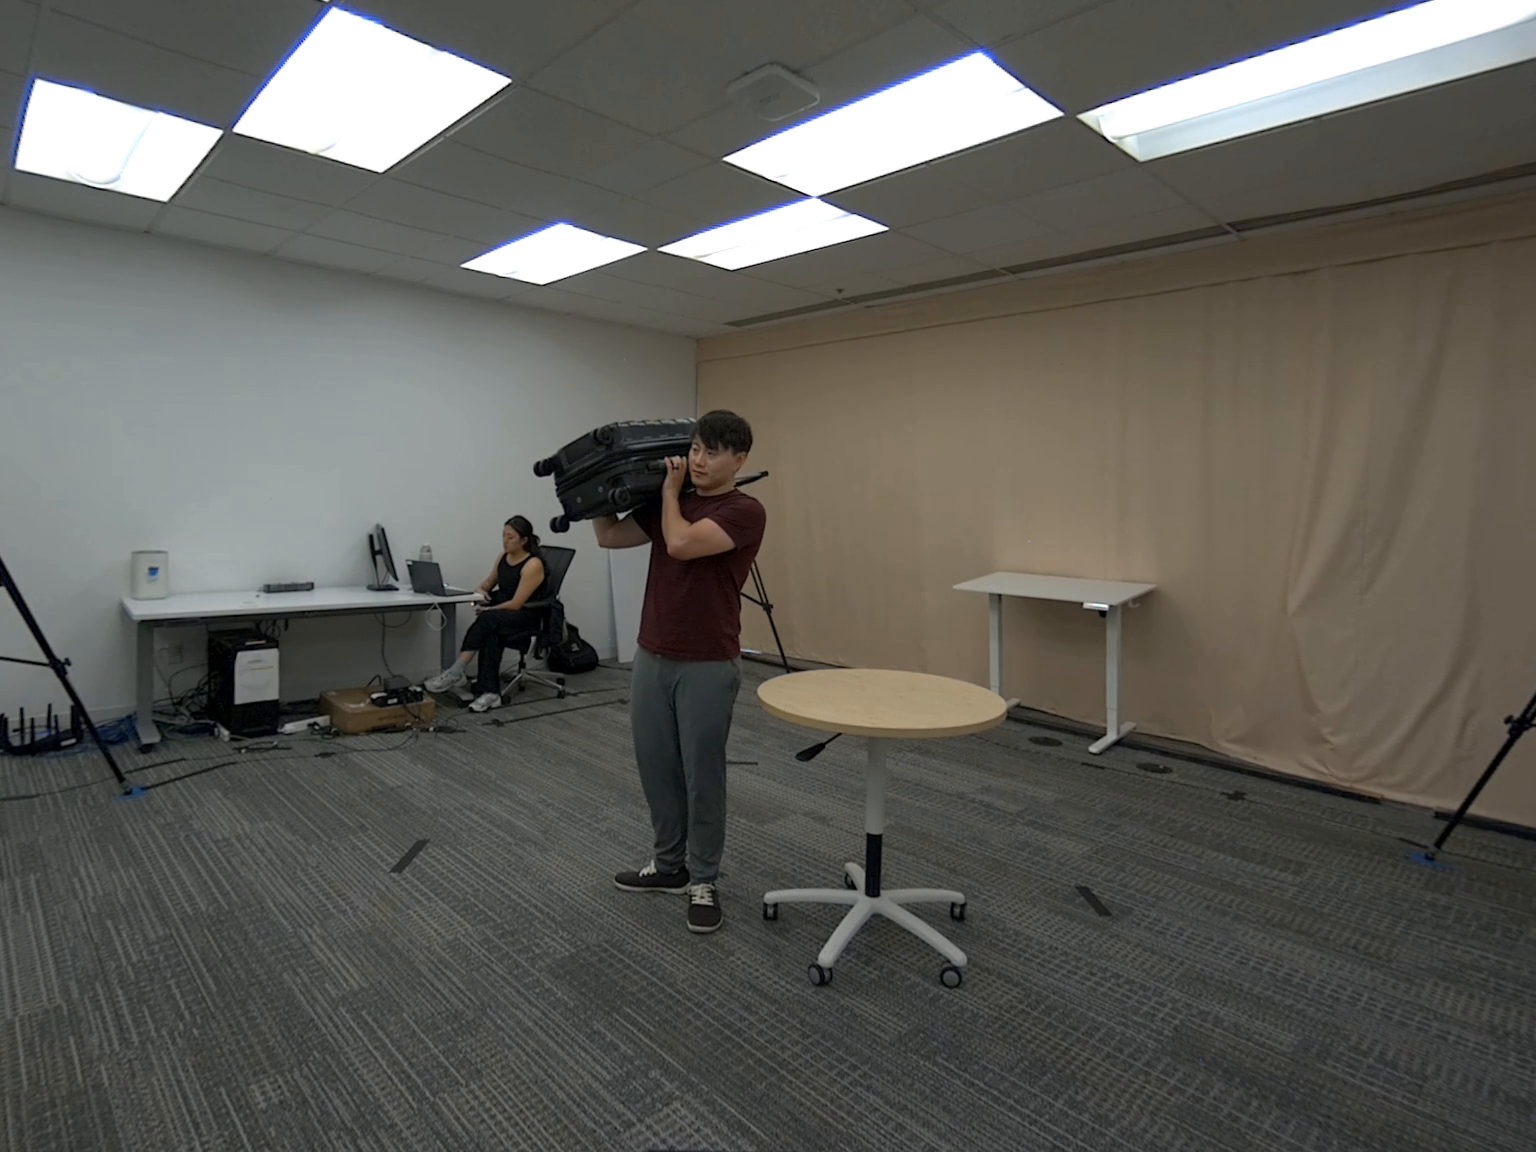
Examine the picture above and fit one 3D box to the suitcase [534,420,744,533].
[{"bbox_3d":[-0.370,-0.412,3.060,0.389,0.257,0.964,-20,1,35],"label":"suitcase"}]
